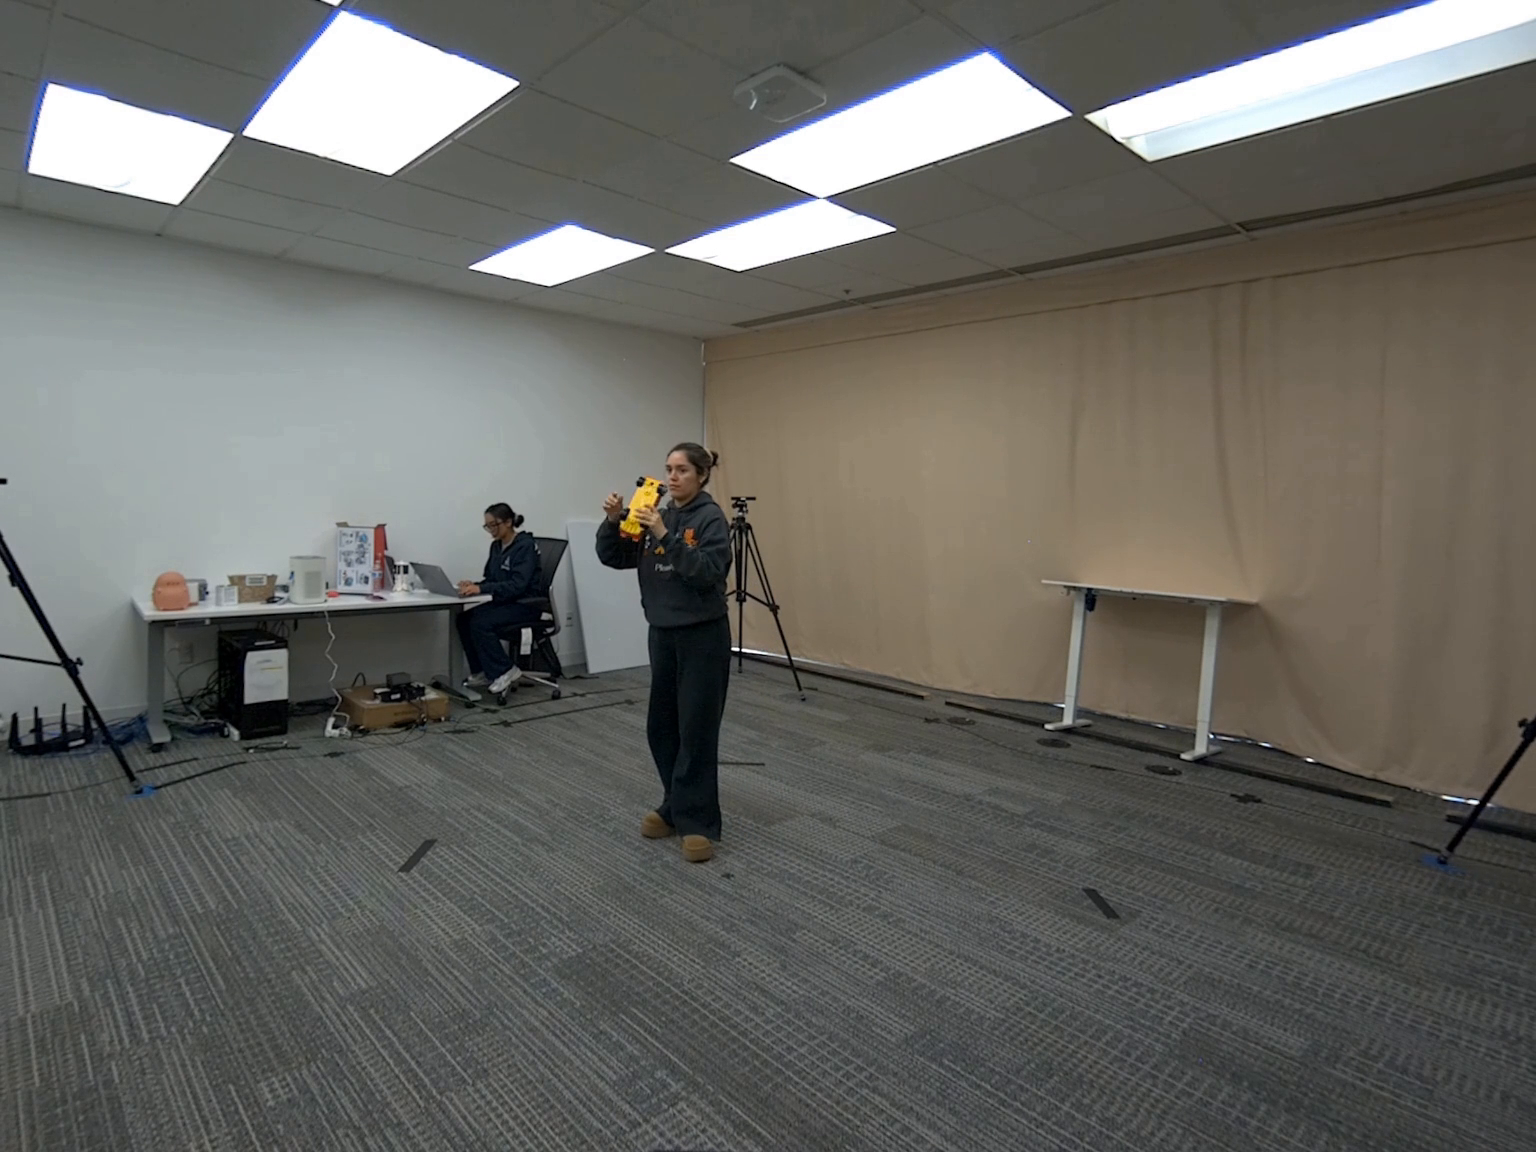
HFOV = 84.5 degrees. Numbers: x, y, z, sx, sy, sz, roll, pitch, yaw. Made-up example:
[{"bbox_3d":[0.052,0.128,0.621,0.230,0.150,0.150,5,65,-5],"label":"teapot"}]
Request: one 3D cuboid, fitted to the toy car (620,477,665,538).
[{"bbox_3d":[-0.490,-0.256,3.195,0.132,0.255,0.082,21,-8,13],"label":"toy car"}]
